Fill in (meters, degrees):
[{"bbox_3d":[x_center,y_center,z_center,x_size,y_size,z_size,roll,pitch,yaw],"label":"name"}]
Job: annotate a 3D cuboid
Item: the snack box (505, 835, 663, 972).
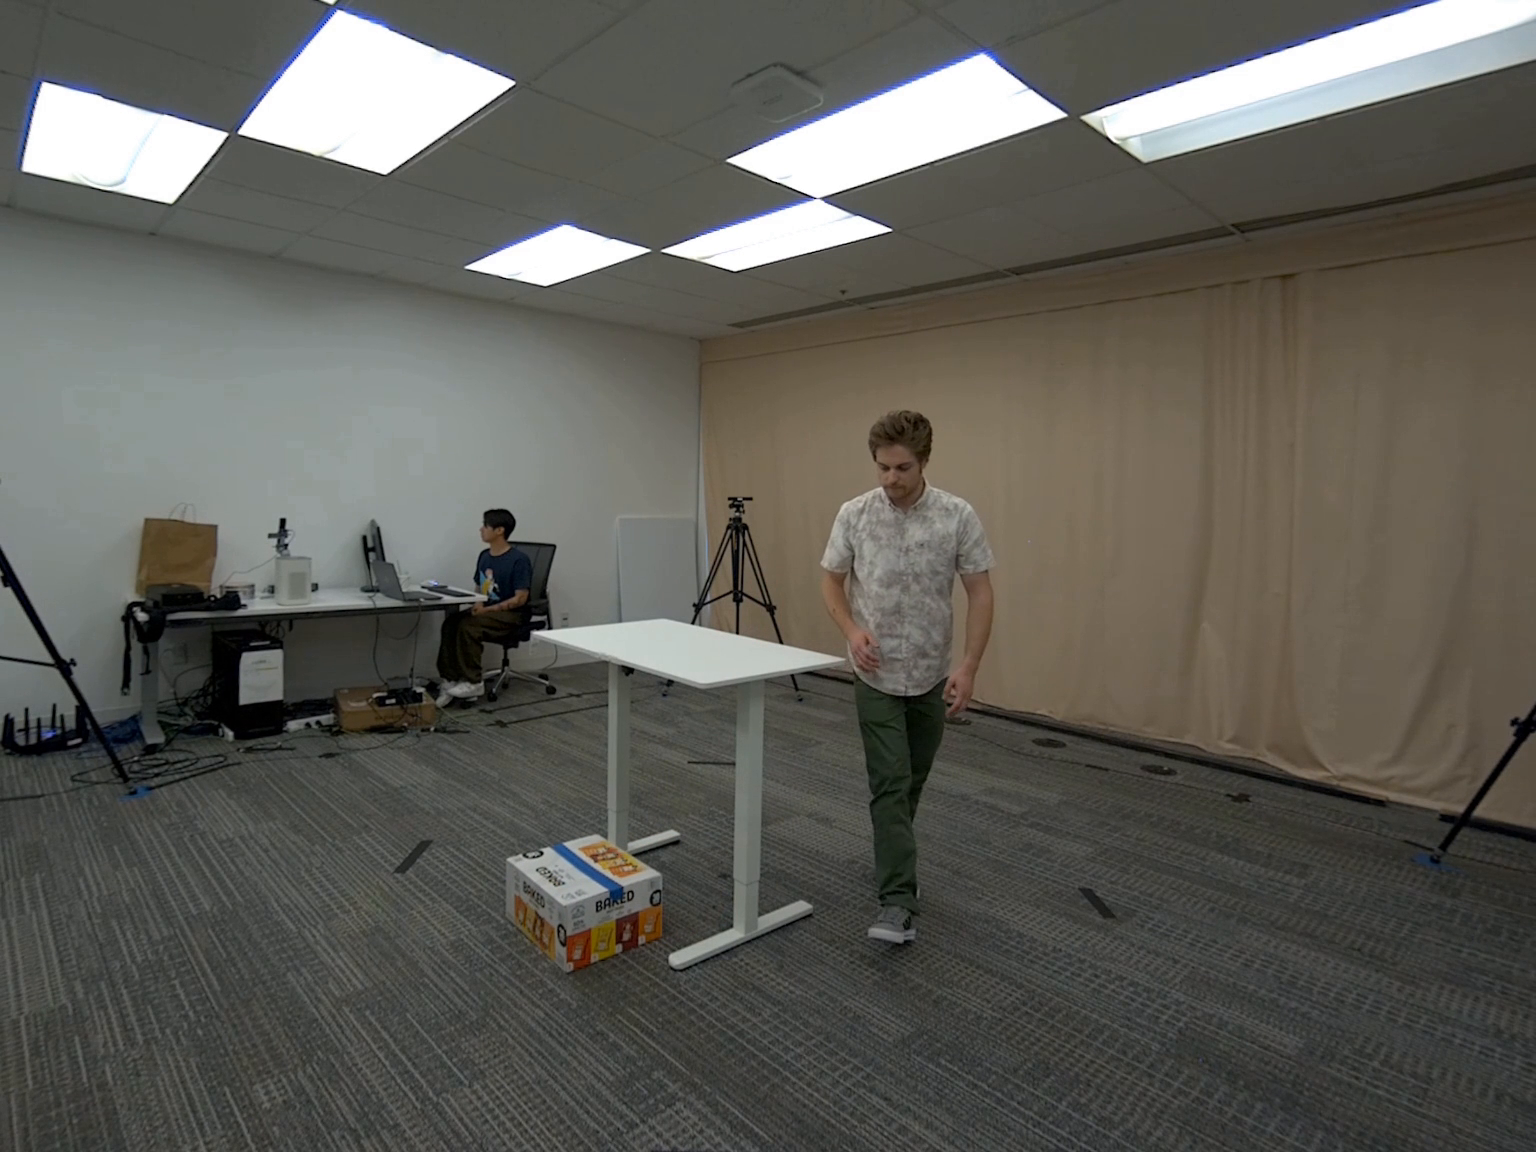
[{"bbox_3d":[-0.600,1.033,2.696,0.332,0.205,0.415,-2,6,-41],"label":"snack box"}]
